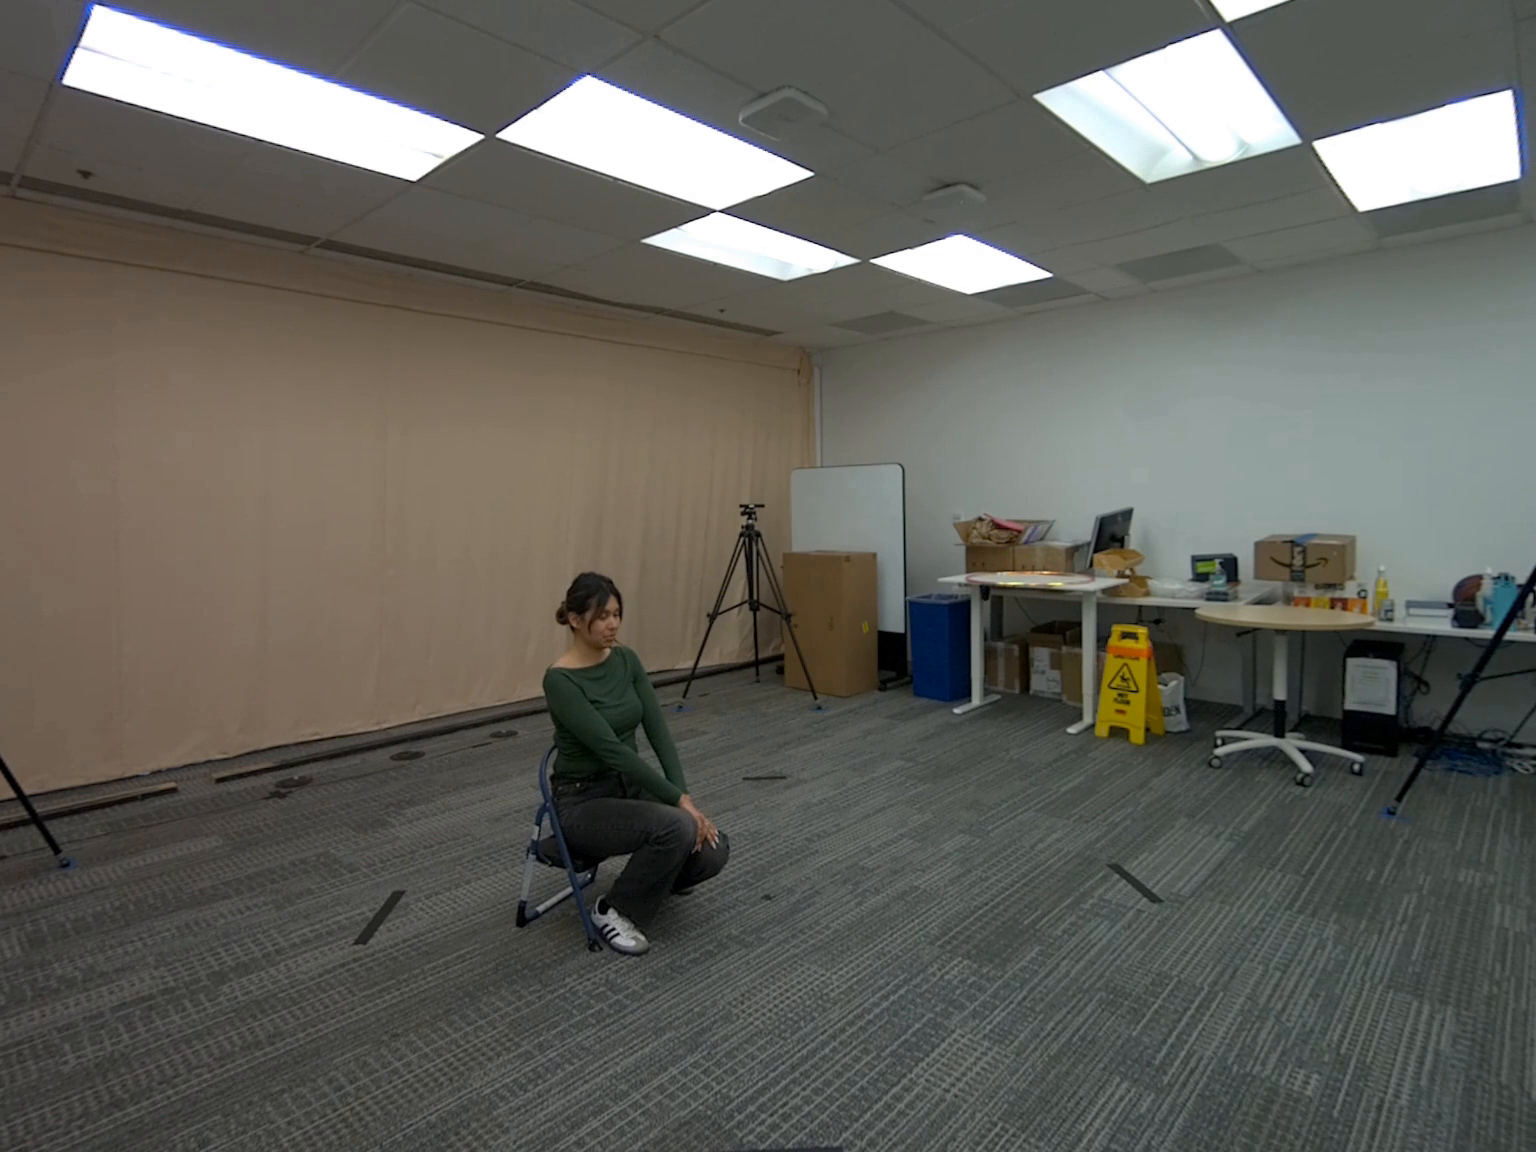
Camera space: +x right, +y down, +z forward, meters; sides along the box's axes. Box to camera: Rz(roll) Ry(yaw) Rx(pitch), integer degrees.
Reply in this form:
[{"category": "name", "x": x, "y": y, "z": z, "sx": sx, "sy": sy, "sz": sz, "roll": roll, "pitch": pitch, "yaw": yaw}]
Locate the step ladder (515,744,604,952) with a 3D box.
[{"category": "step ladder", "x": -0.613, "y": 0.866, "z": 2.898, "sx": 0.359, "sy": 0.605, "sz": 0.420, "roll": 0, "pitch": 3, "yaw": 27}]
